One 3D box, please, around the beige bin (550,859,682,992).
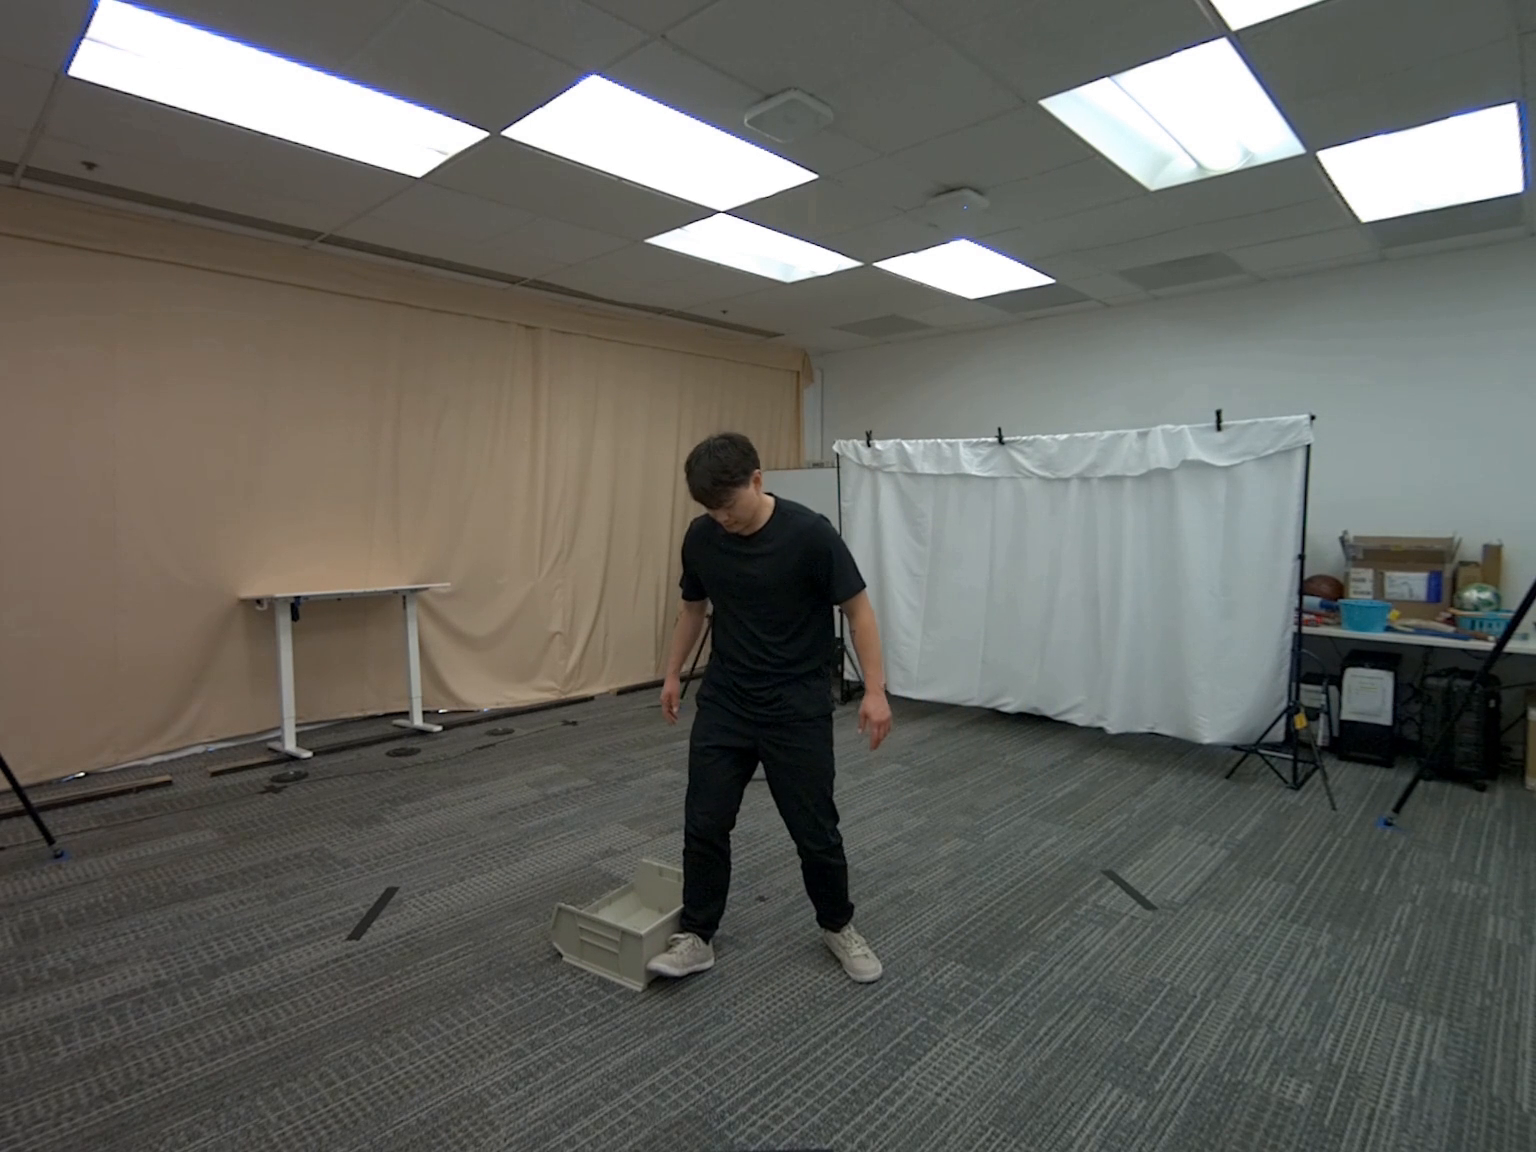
[{"bbox_3d":[-0.411,1.085,2.672,0.389,0.188,0.410,4,5,32],"label":"beige bin"}]
